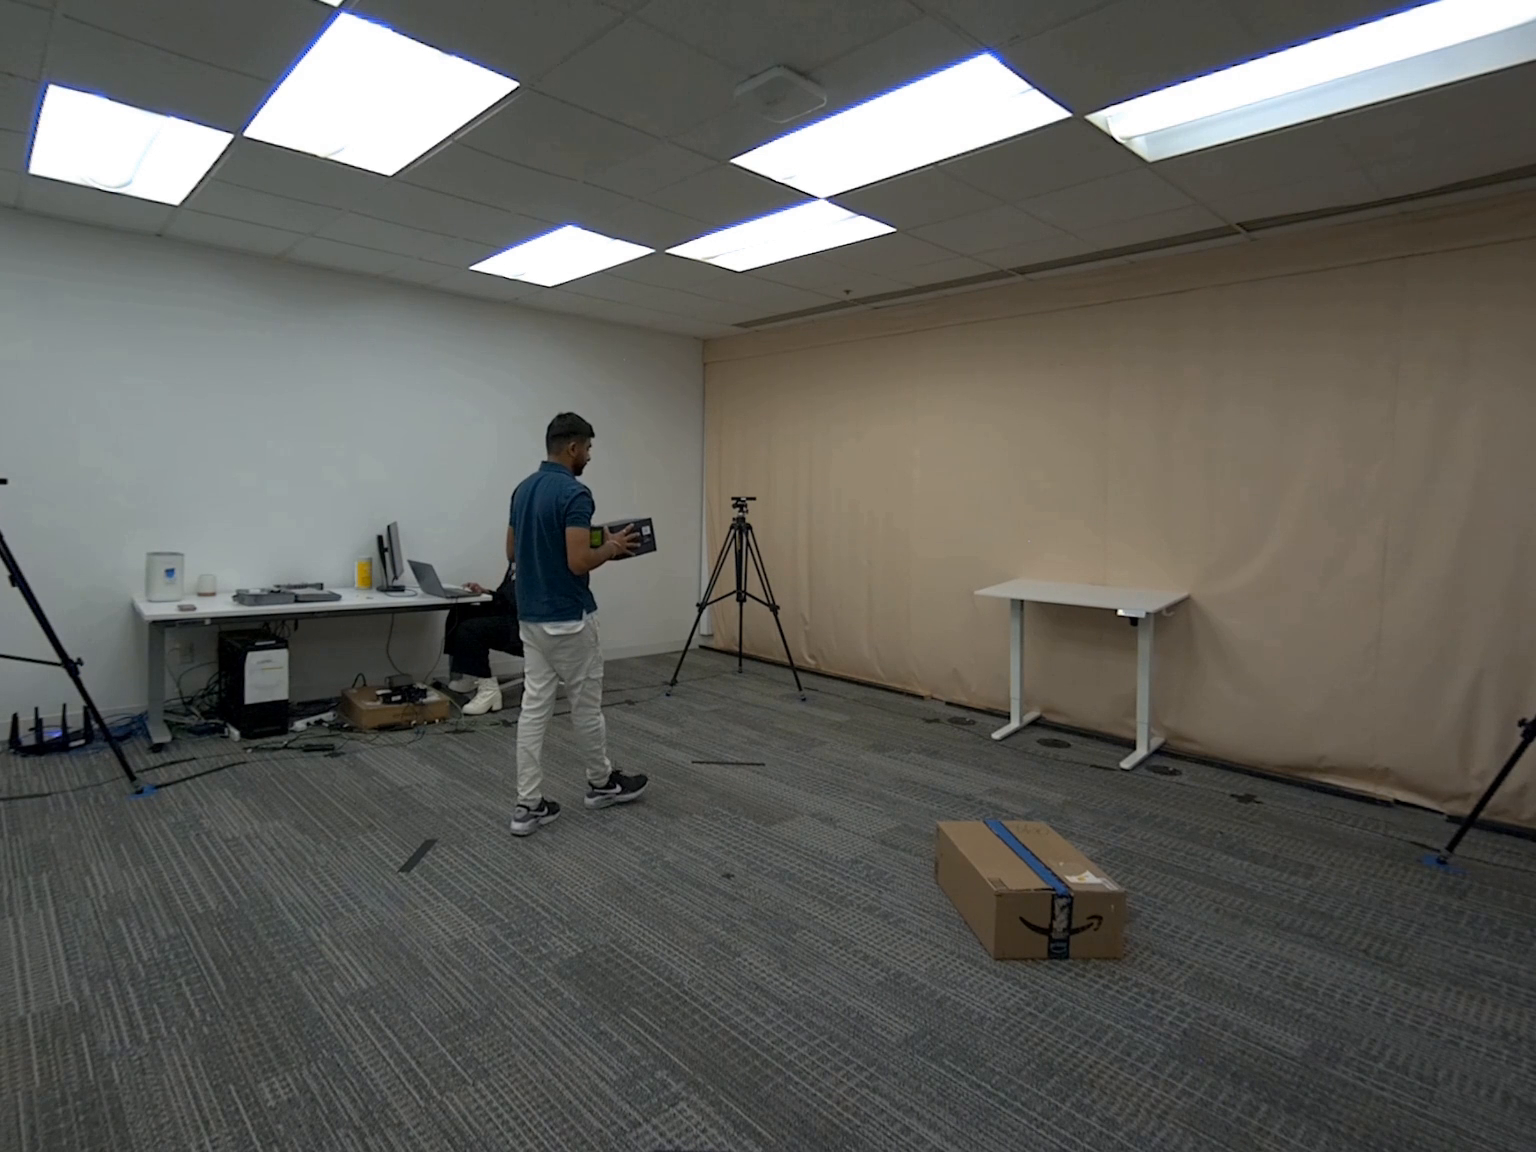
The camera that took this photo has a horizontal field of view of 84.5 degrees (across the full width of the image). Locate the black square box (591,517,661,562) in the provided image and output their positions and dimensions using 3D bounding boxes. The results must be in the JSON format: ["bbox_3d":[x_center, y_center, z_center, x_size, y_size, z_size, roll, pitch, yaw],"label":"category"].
[{"bbox_3d":[-0.653,-0.168,3.802,0.233,0.155,0.213,0,12,43],"label":"black square box"}]
